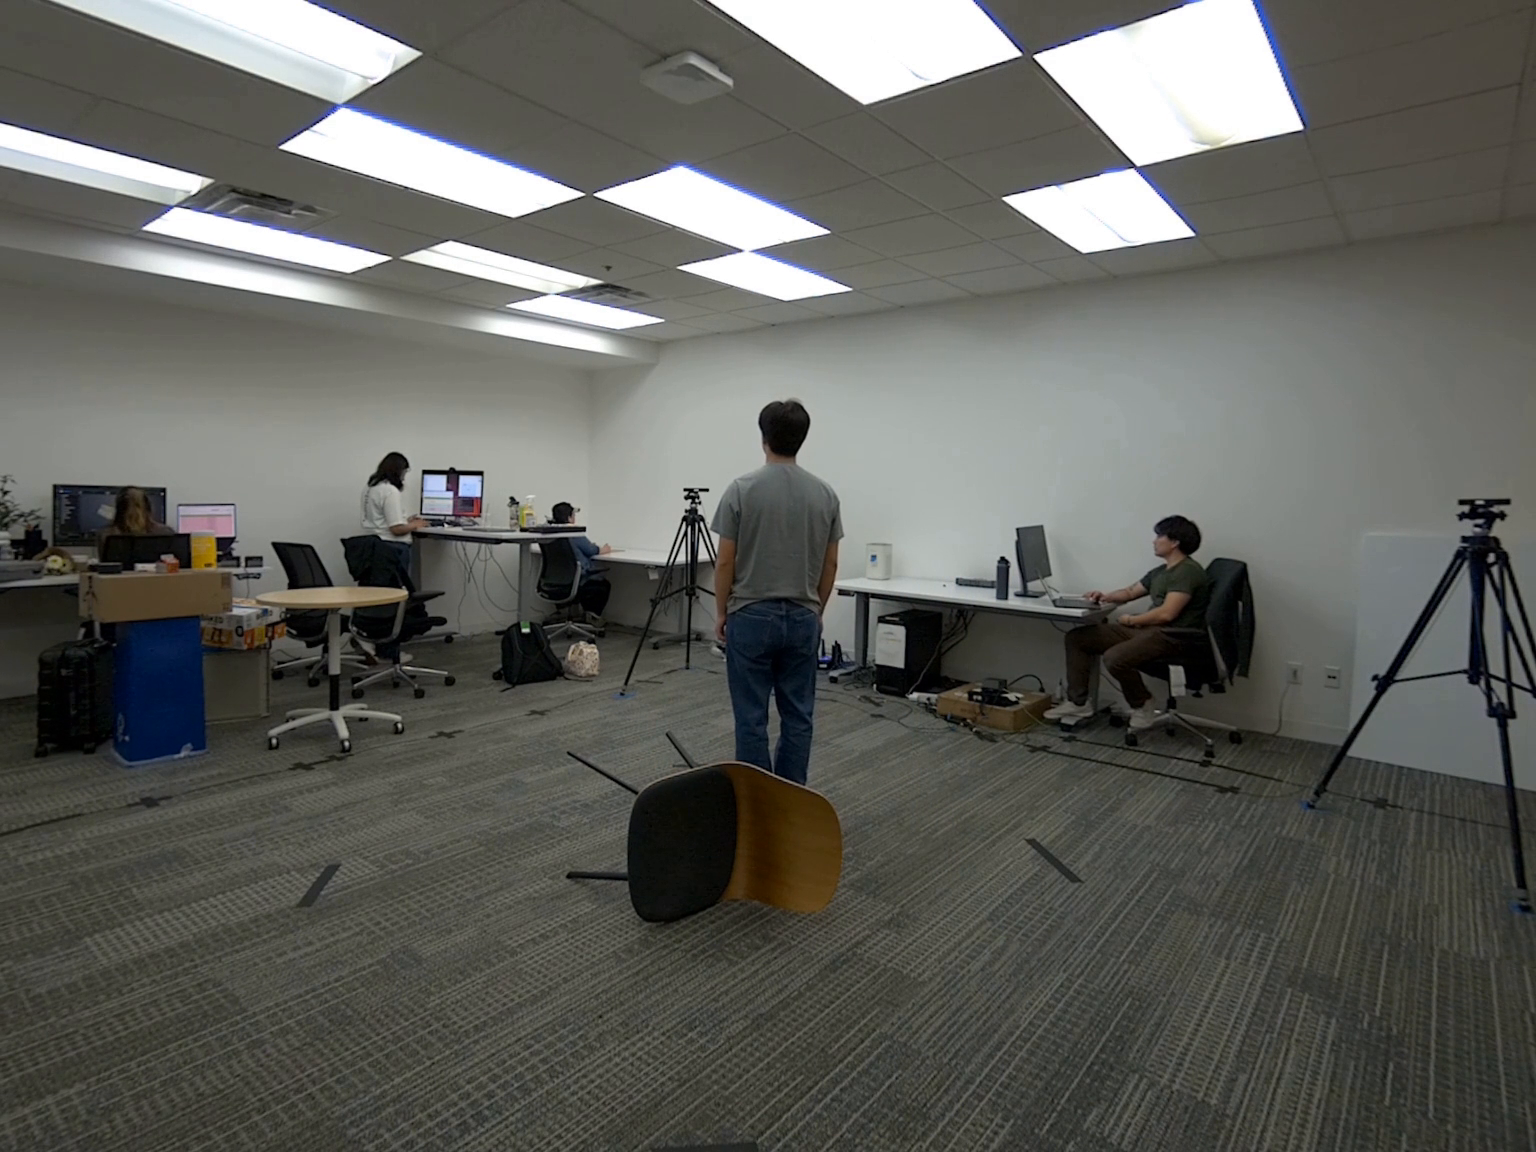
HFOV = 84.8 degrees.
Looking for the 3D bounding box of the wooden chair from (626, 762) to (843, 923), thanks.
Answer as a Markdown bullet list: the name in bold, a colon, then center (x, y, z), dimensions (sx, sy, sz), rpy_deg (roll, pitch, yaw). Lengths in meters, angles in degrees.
- **wooden chair**: center (-0.274, 0.864, 2.833), dimensions (0.907, 0.477, 0.507), rpy_deg (5, 5, 43)
